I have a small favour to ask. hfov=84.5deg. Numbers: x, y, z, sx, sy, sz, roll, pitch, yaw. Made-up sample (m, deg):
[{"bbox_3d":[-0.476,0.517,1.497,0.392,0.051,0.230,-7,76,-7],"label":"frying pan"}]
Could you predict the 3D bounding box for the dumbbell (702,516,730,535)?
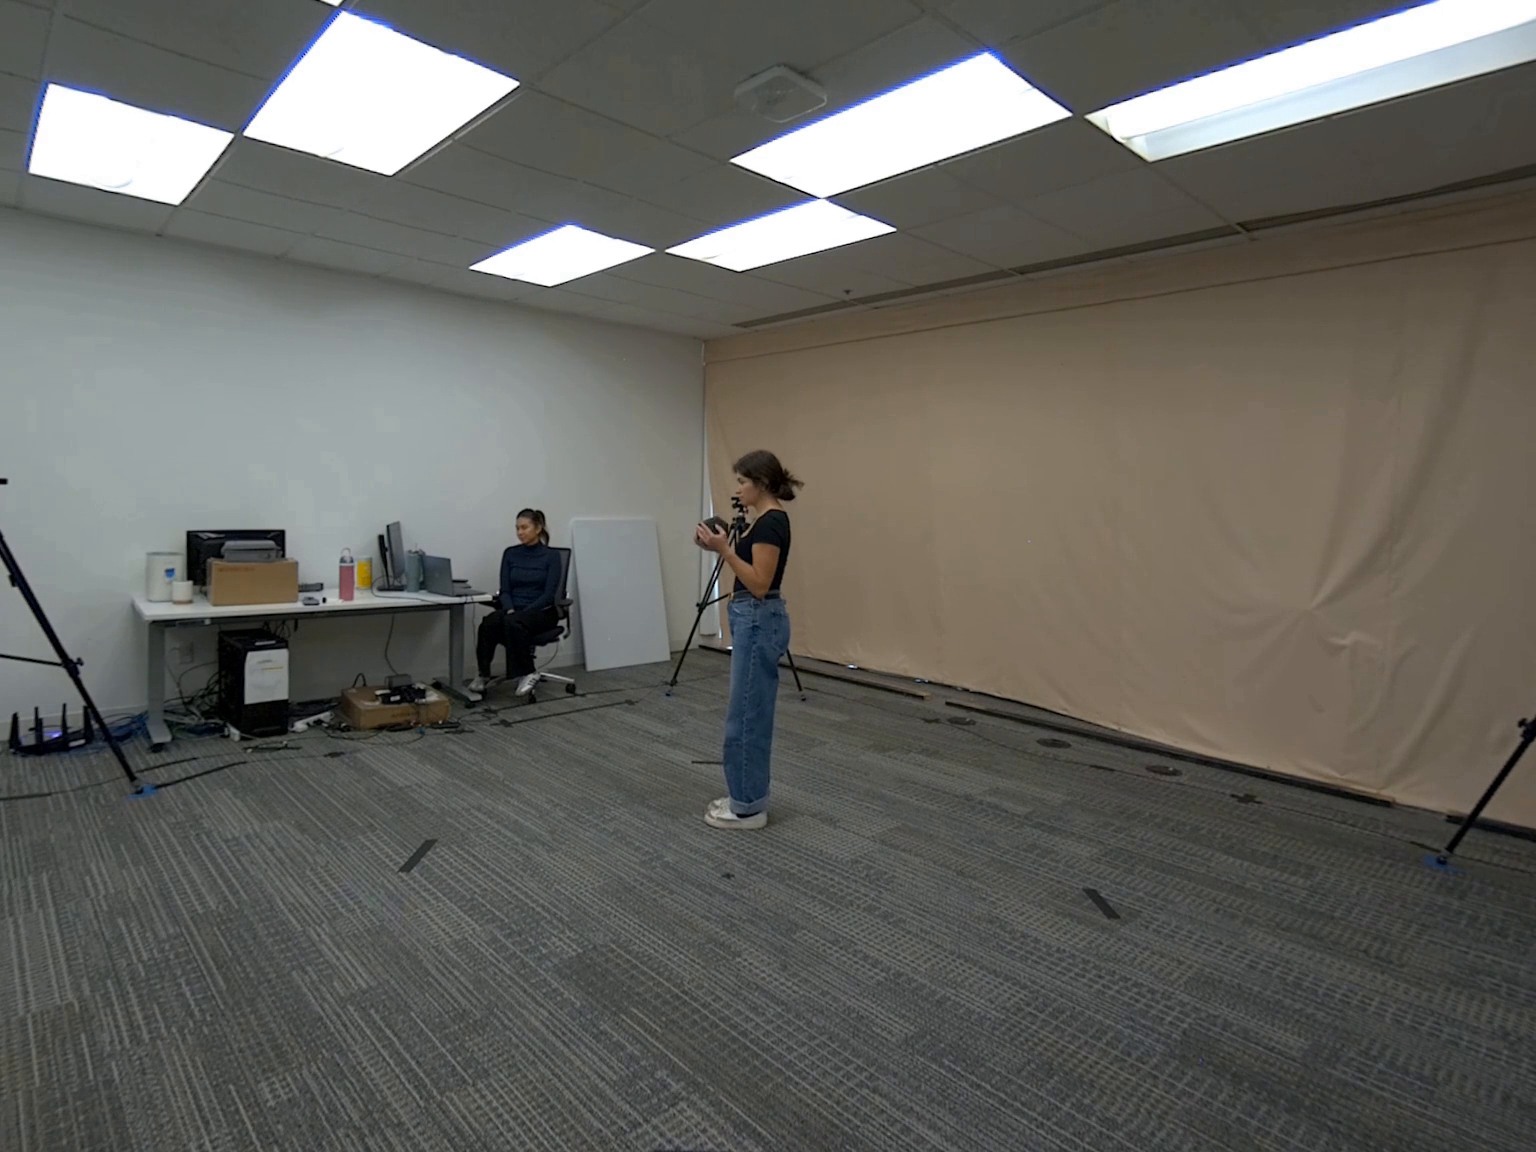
[{"bbox_3d":[-0.239,-0.189,3.646,0.108,0.123,0.294,6,0,-3],"label":"dumbbell"}]
